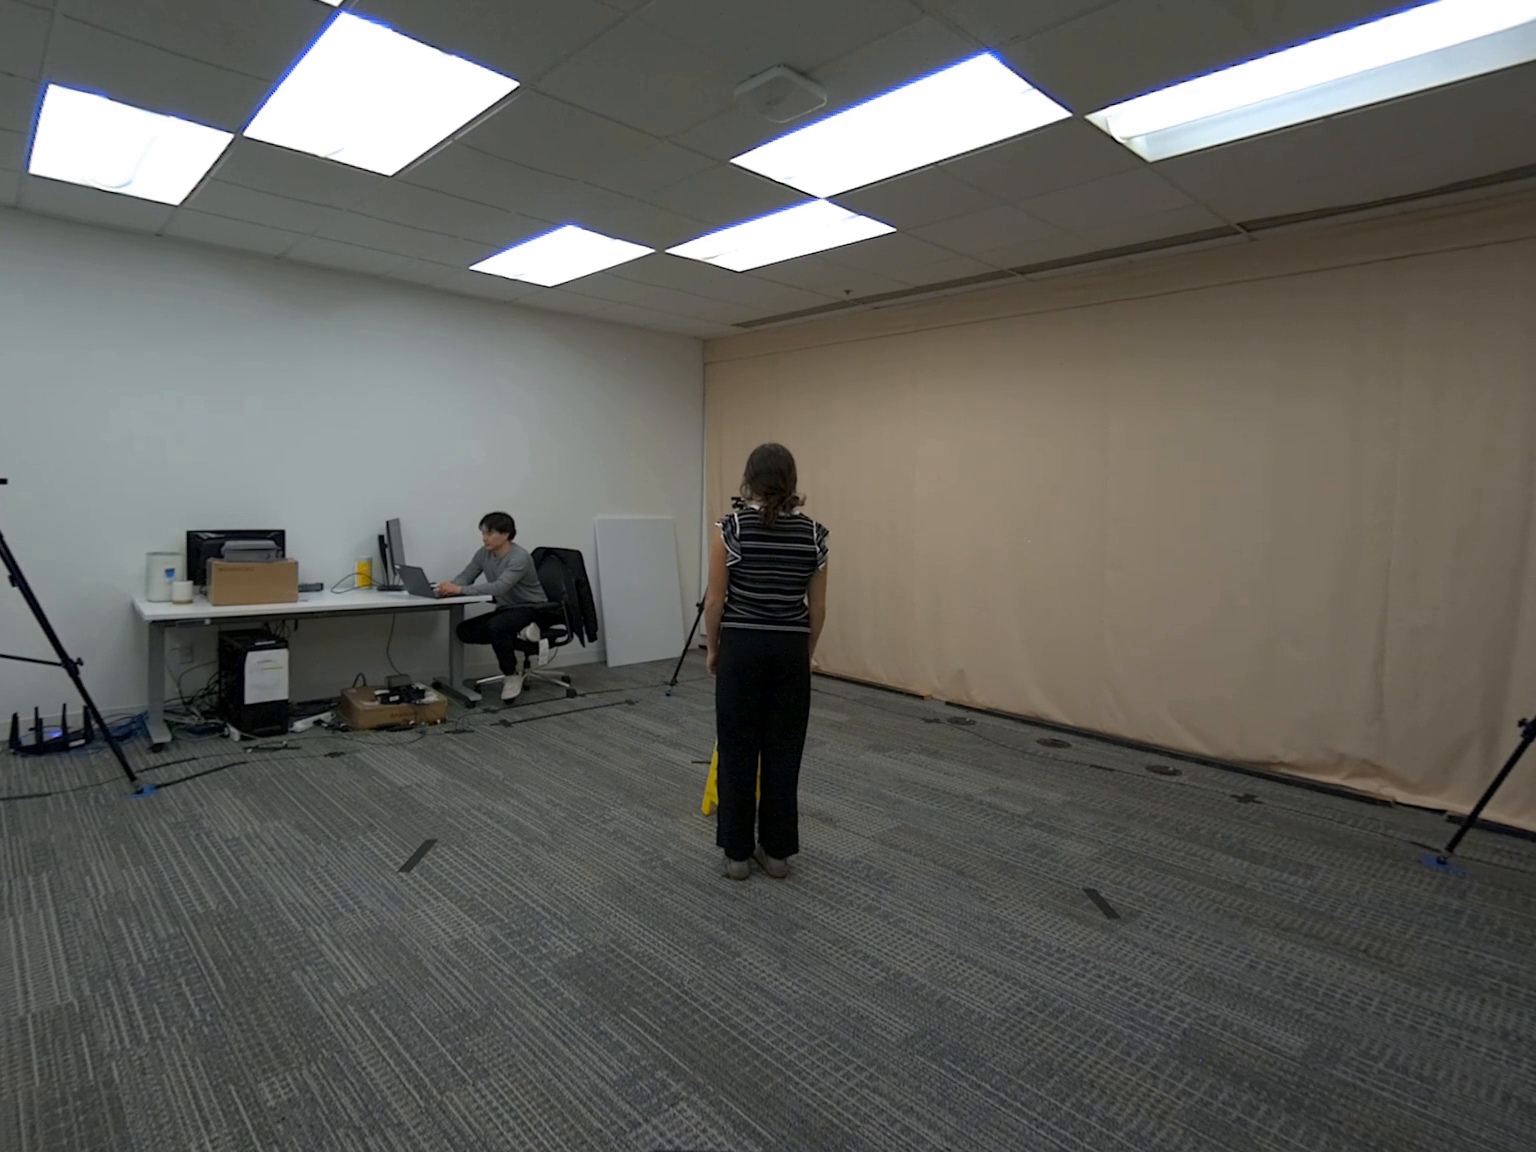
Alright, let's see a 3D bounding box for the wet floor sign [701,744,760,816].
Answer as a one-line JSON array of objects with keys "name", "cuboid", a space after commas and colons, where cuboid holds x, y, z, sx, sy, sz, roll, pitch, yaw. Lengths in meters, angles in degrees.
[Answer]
[{"name": "wet floor sign", "cuboid": [-0.126, 0.737, 3.667, 0.285, 0.645, 0.287, 1, 2, -21]}]
